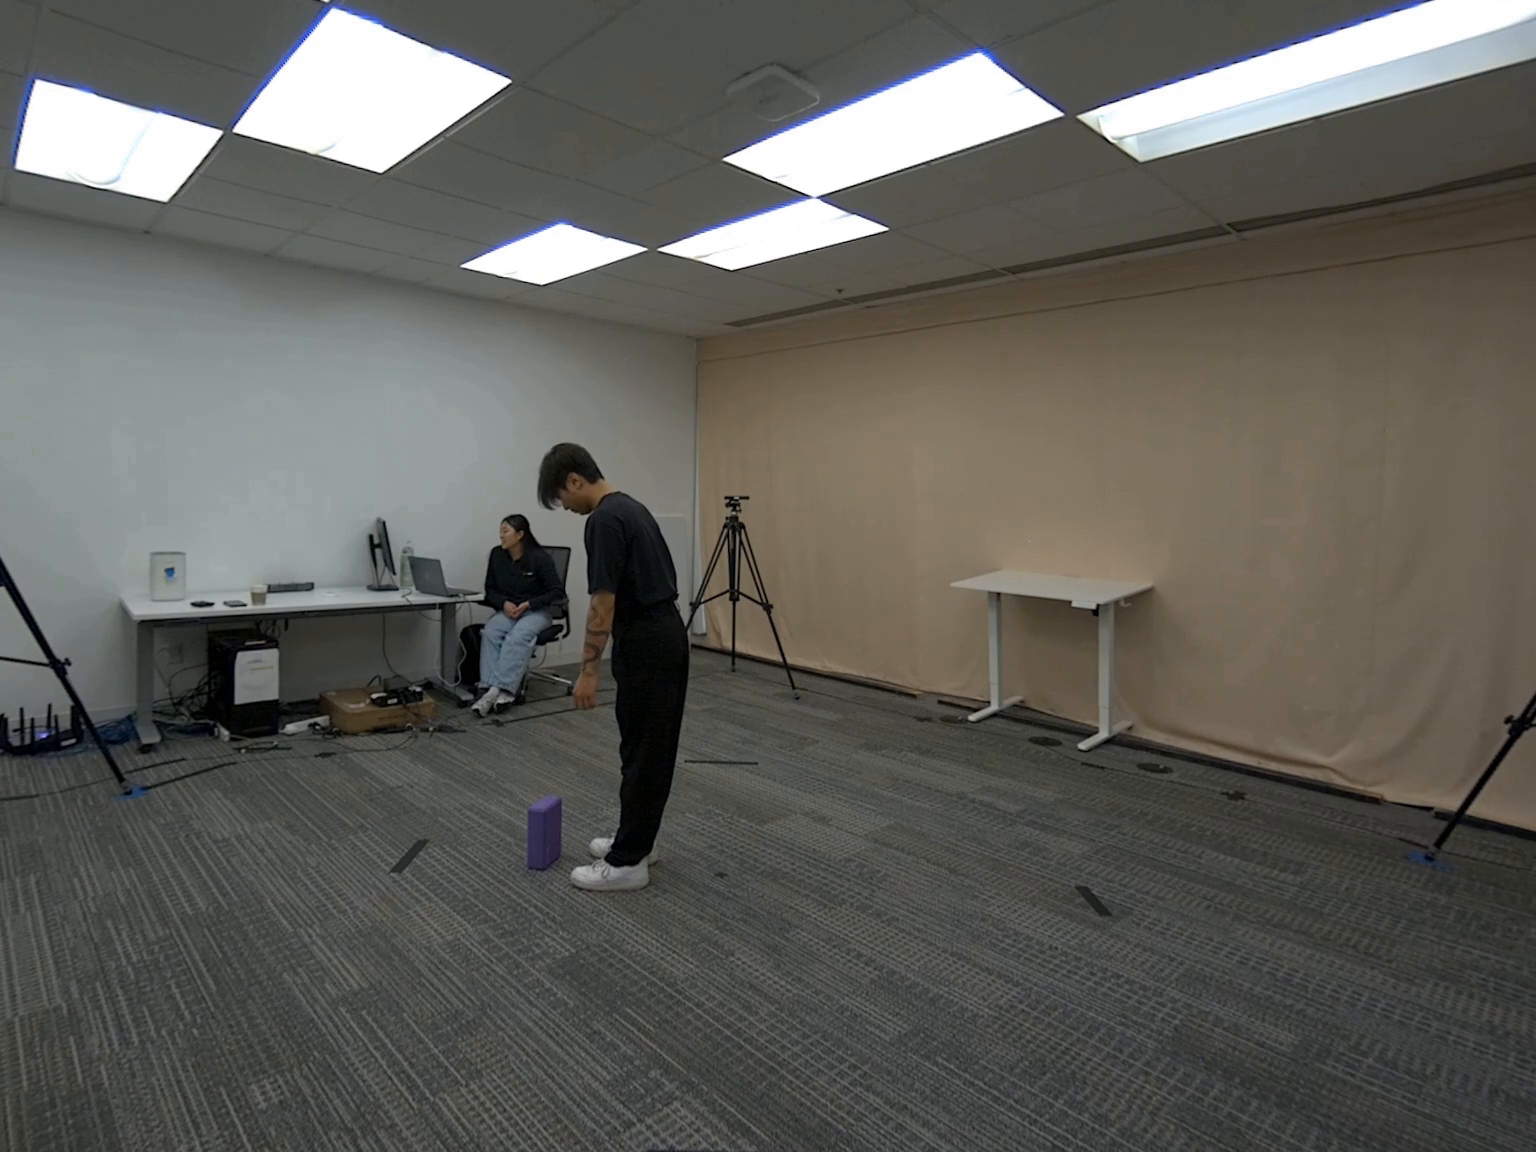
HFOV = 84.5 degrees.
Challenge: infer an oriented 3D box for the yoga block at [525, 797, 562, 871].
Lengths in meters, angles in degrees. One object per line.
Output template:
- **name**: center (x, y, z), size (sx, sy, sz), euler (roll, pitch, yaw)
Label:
- **yoga block**: center (-0.841, 0.965, 3.170), size (0.077, 0.229, 0.148), euler (0, 3, 10)
